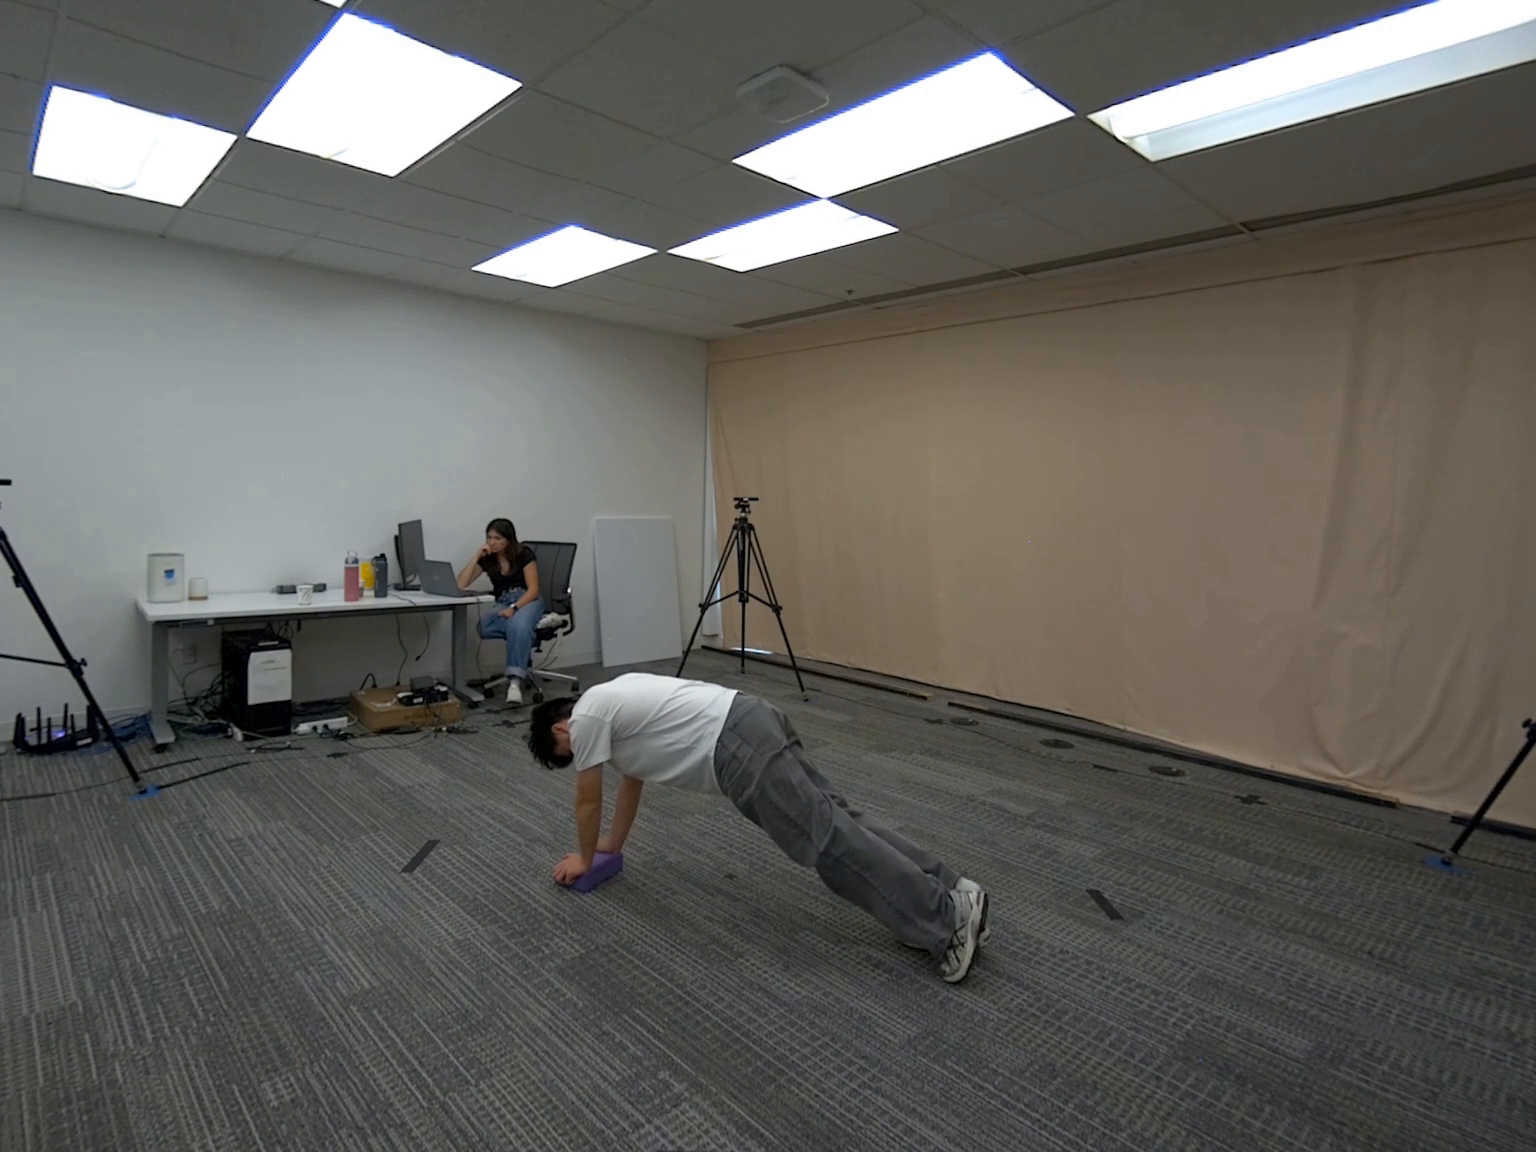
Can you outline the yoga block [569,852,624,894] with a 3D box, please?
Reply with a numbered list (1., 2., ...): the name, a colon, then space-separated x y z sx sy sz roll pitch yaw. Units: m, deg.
1. yoga block: -0.664 1.072 3.064 0.152 0.076 0.225 0 6 27
